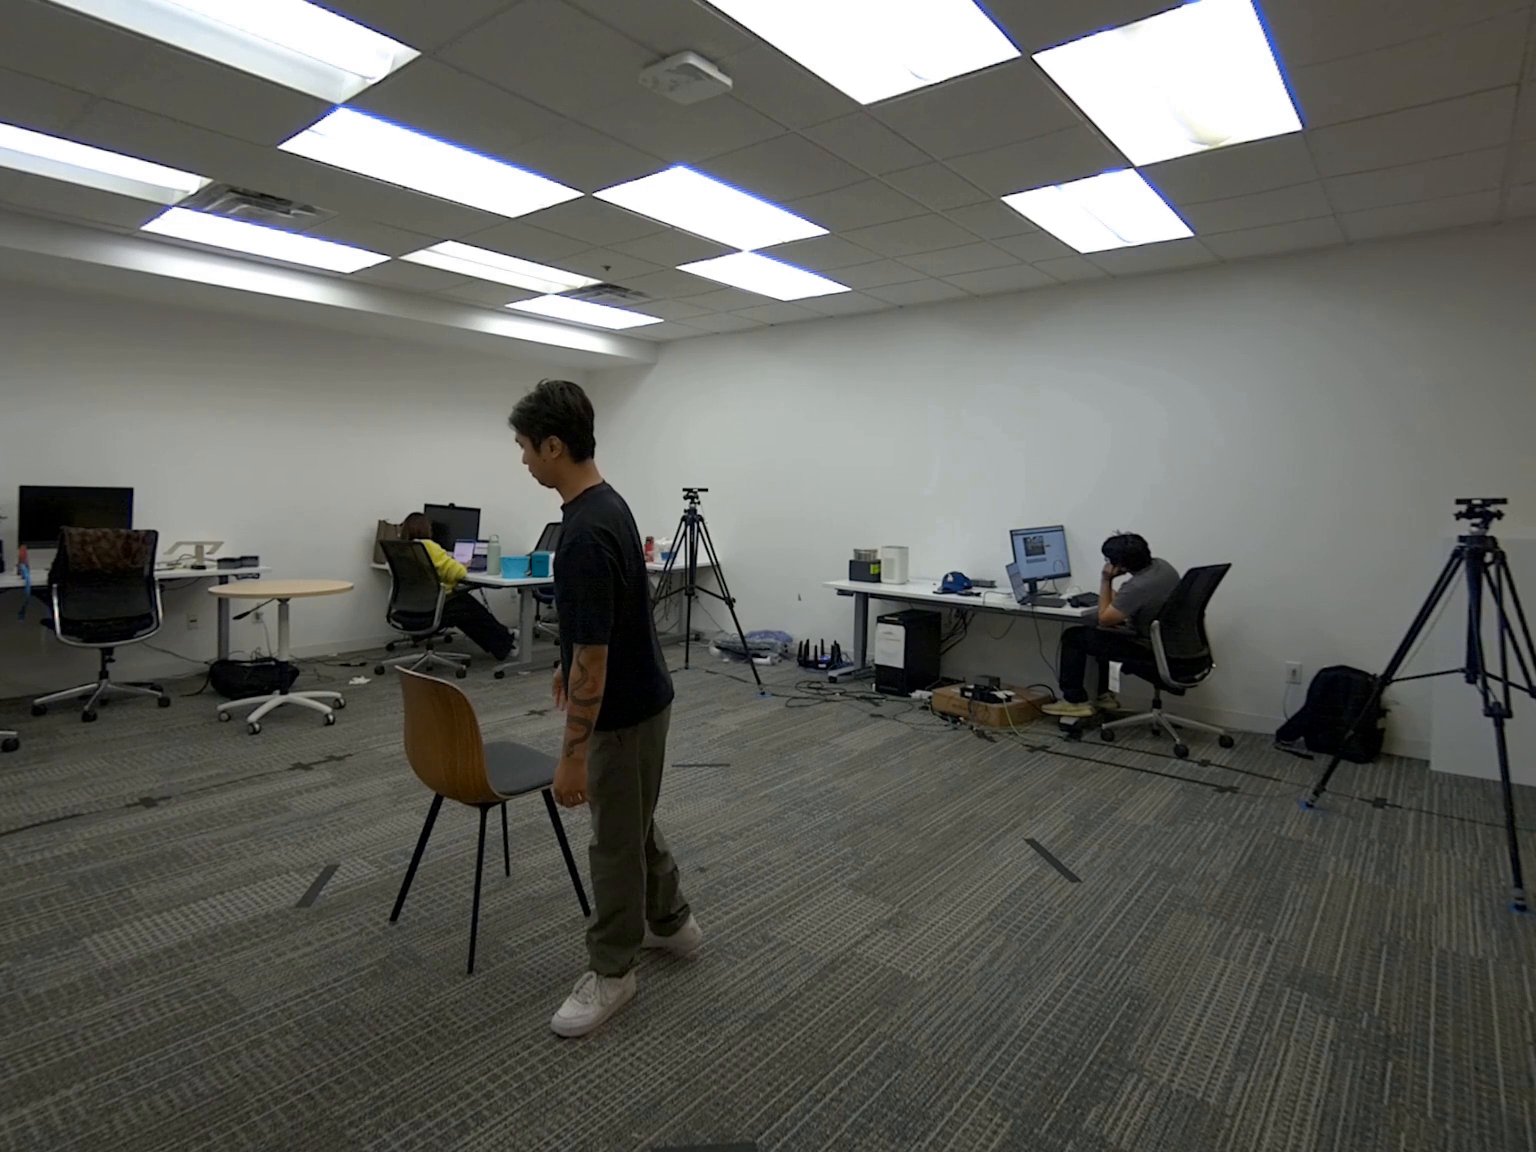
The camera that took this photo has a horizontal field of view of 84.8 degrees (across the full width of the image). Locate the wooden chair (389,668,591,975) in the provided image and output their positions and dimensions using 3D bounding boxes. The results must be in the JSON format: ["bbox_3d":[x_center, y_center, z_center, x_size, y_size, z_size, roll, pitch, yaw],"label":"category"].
[{"bbox_3d":[-0.886,0.671,2.704,0.494,0.872,0.509,3,8,39],"label":"wooden chair"}]
